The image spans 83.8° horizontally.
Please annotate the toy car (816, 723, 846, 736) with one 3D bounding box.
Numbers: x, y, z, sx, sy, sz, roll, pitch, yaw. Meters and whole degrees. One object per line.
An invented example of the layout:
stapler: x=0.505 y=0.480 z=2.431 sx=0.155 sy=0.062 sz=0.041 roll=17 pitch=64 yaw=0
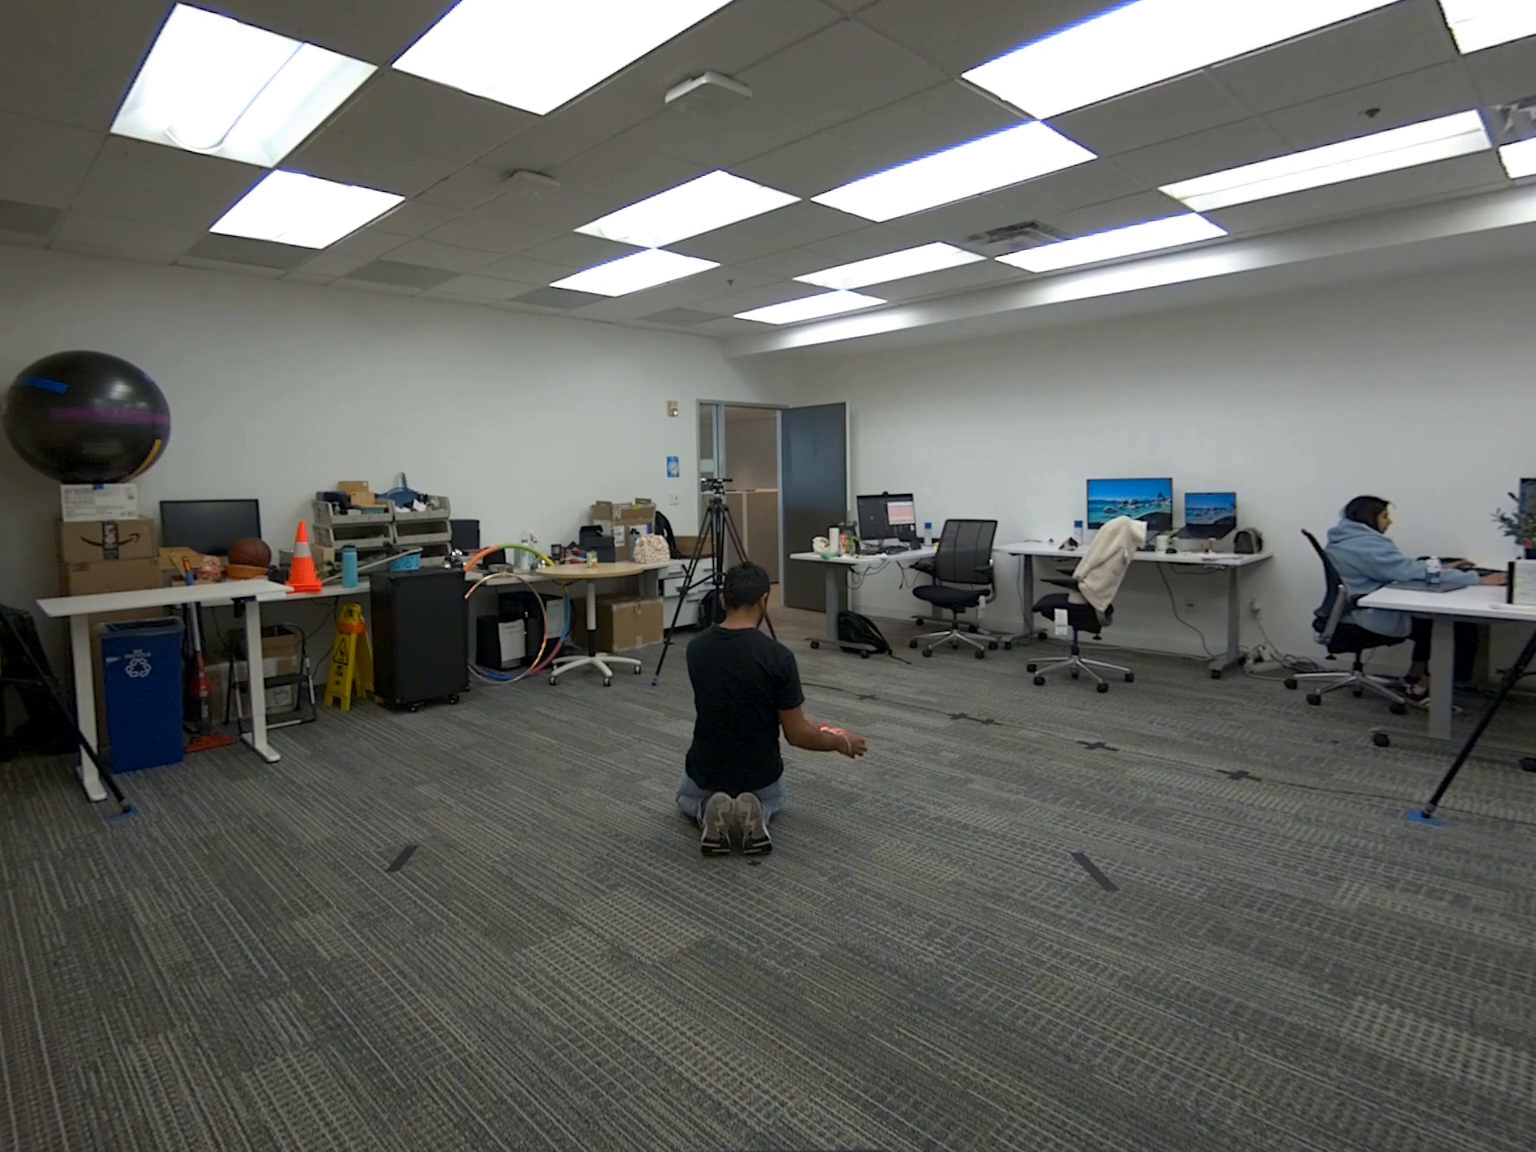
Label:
toy car: x=0.266 y=0.665 z=3.512 sx=0.127 sy=0.082 sz=0.263 roll=-4 pitch=14 yaw=-42
